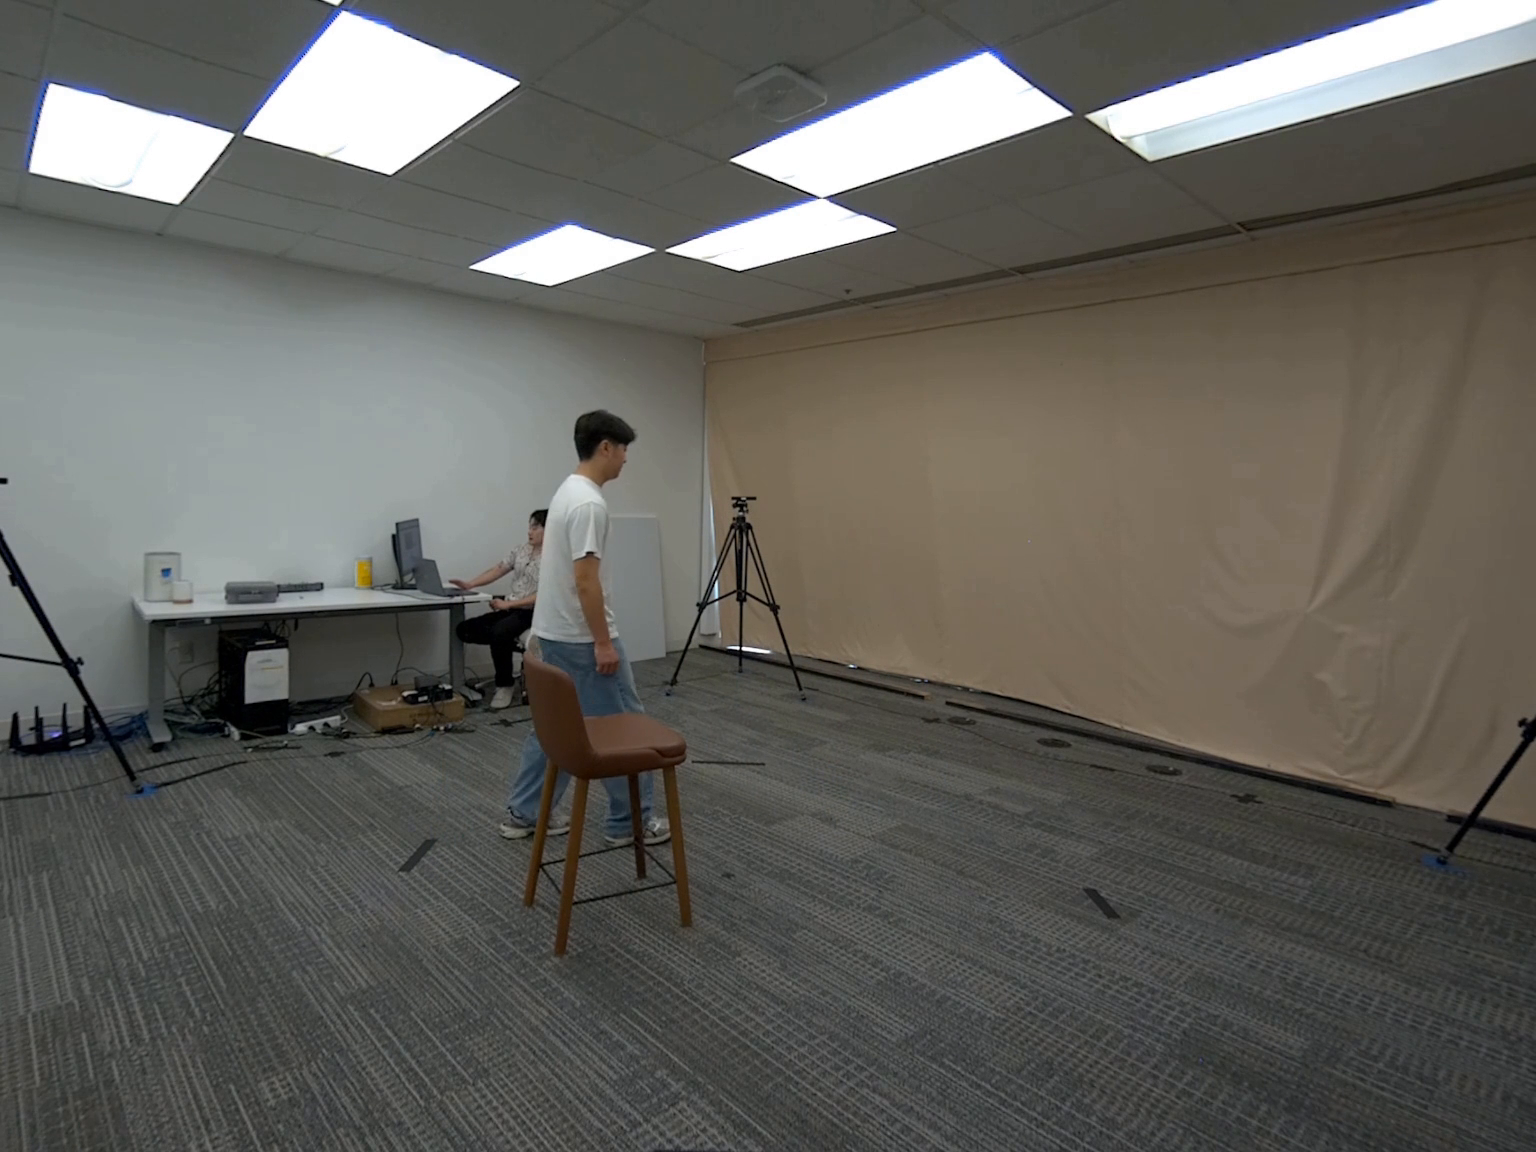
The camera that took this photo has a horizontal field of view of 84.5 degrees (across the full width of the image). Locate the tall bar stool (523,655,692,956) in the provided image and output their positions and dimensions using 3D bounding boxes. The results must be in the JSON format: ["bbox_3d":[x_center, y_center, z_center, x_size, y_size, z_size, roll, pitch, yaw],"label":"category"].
[{"bbox_3d":[-0.538,0.693,2.772,0.458,0.887,0.467,-3,5,-31],"label":"tall bar stool"}]
